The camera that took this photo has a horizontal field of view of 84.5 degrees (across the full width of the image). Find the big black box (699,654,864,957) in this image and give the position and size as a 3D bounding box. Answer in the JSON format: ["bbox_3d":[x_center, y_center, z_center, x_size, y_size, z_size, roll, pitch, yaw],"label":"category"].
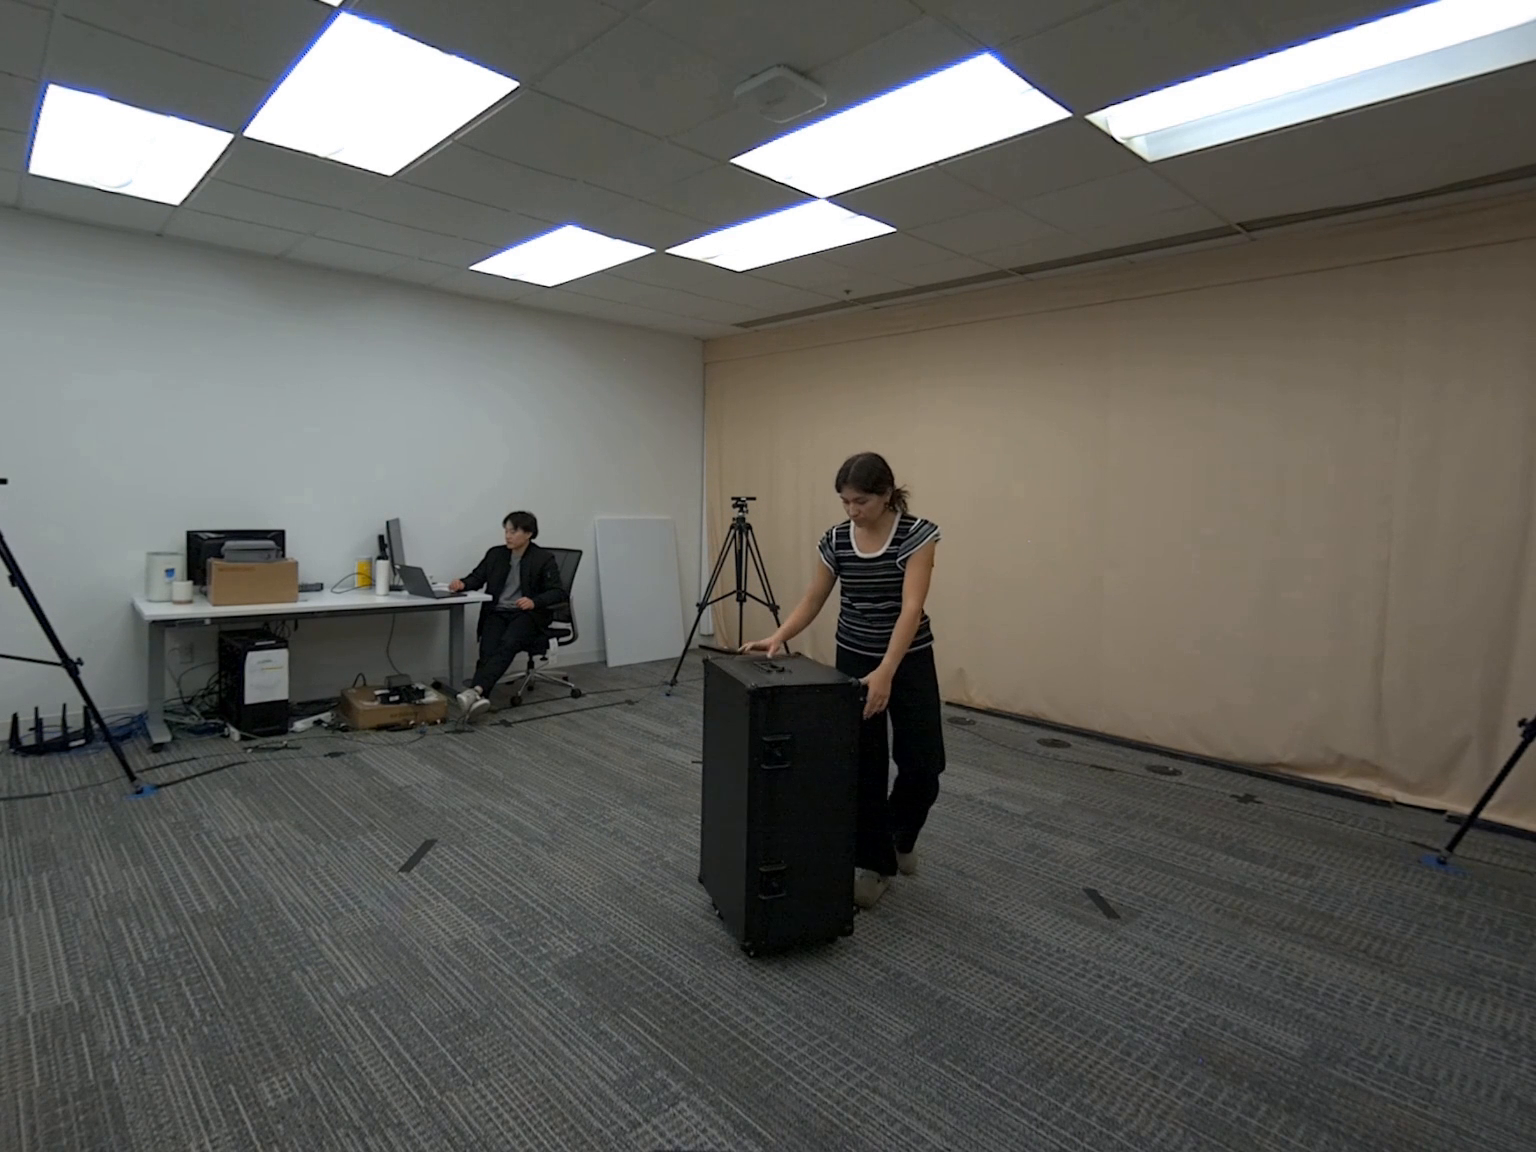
[{"bbox_3d":[0.023,0.722,2.716,0.390,0.860,0.530,1,2,-20],"label":"big black box"}]
